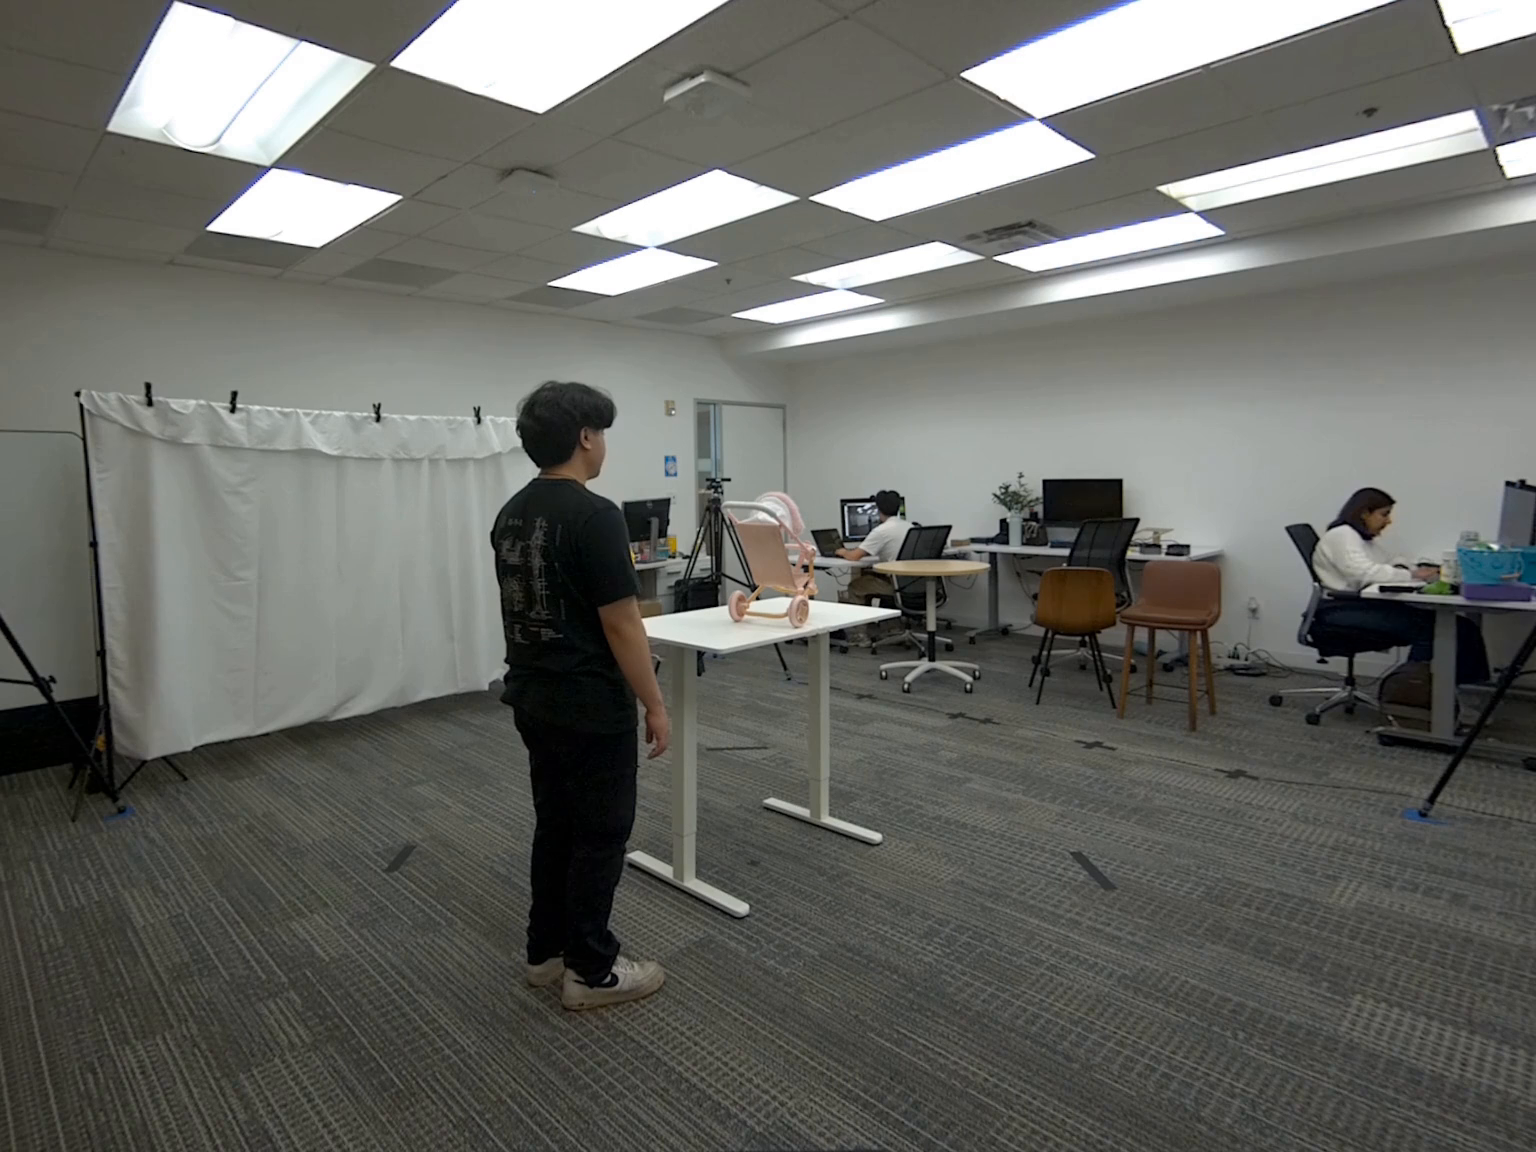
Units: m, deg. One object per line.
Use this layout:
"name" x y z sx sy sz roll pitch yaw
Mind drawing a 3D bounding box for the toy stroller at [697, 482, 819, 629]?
"toy stroller" 0.035 -0.058 3.044 0.290 0.526 0.337 4 21 36
